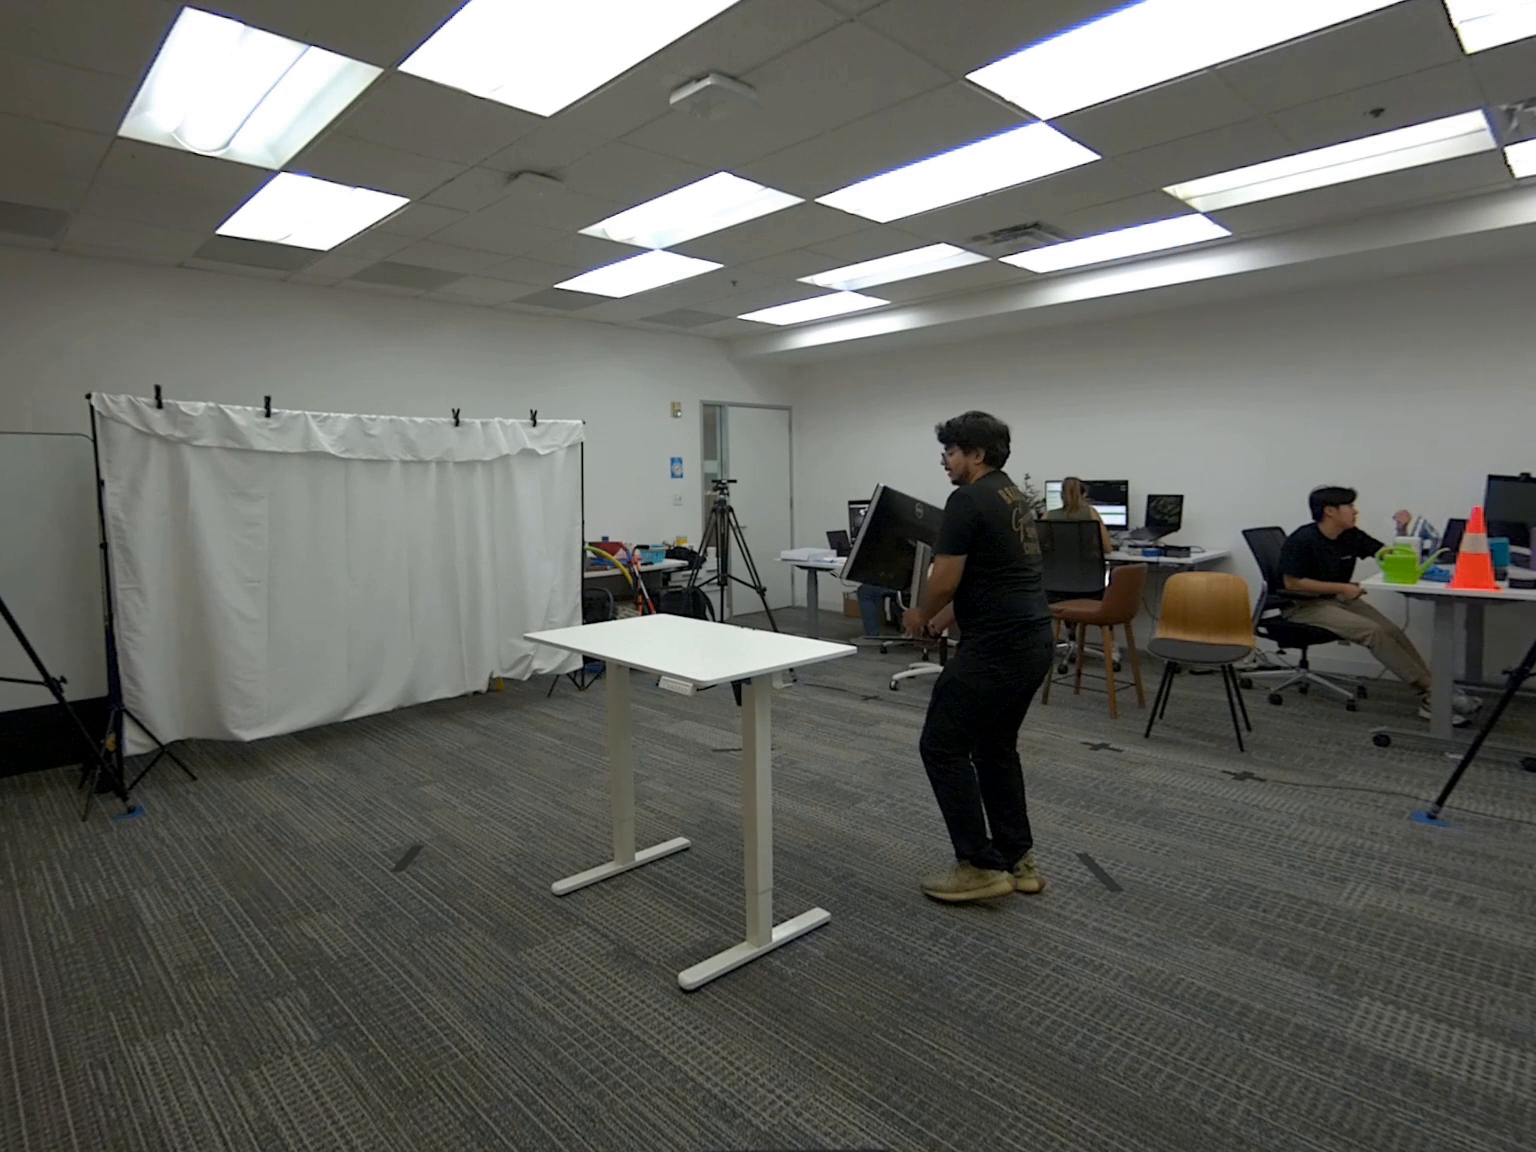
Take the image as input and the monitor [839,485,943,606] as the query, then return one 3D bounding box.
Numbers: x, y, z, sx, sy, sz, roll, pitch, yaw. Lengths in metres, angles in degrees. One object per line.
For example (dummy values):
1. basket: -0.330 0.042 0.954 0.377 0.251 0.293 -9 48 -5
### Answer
1. monitor: 0.530 -0.017 3.184 0.217 0.554 0.546 13 0 37
